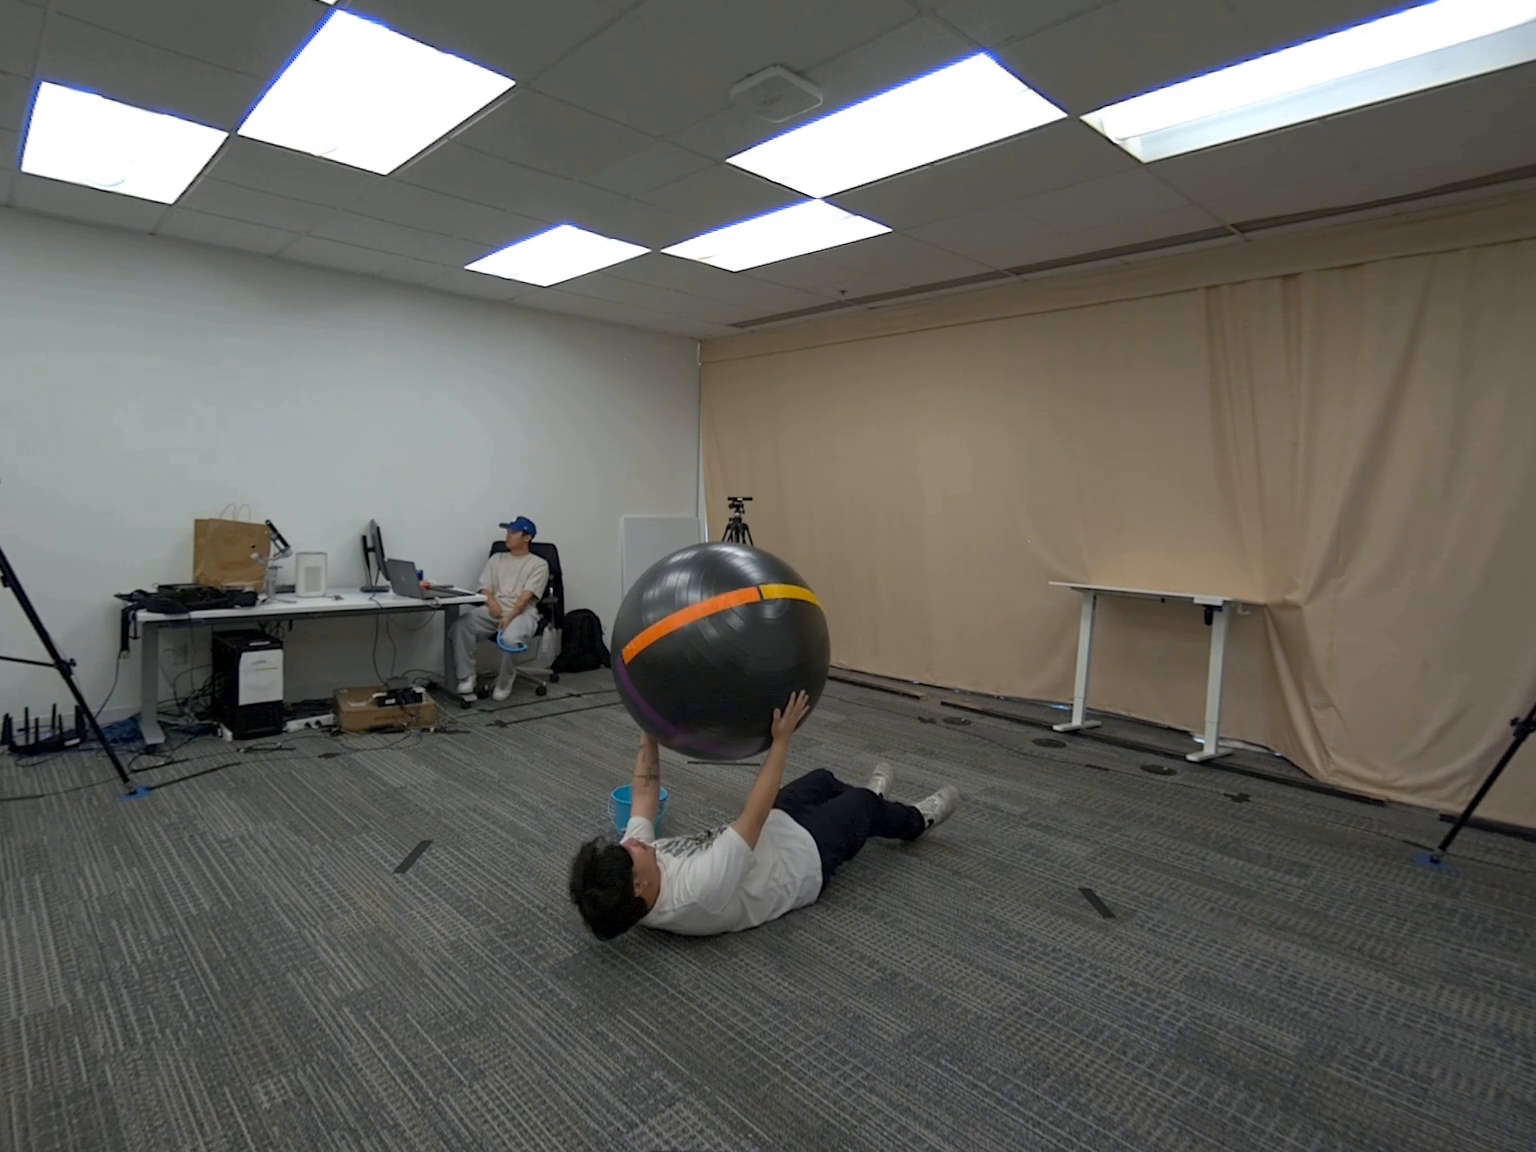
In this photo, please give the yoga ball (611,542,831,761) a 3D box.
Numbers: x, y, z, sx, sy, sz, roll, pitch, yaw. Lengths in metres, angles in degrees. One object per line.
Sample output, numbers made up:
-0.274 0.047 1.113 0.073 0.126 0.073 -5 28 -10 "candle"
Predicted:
-0.170 0.266 2.925 0.757 0.756 0.761 1 4 -1 "yoga ball"
